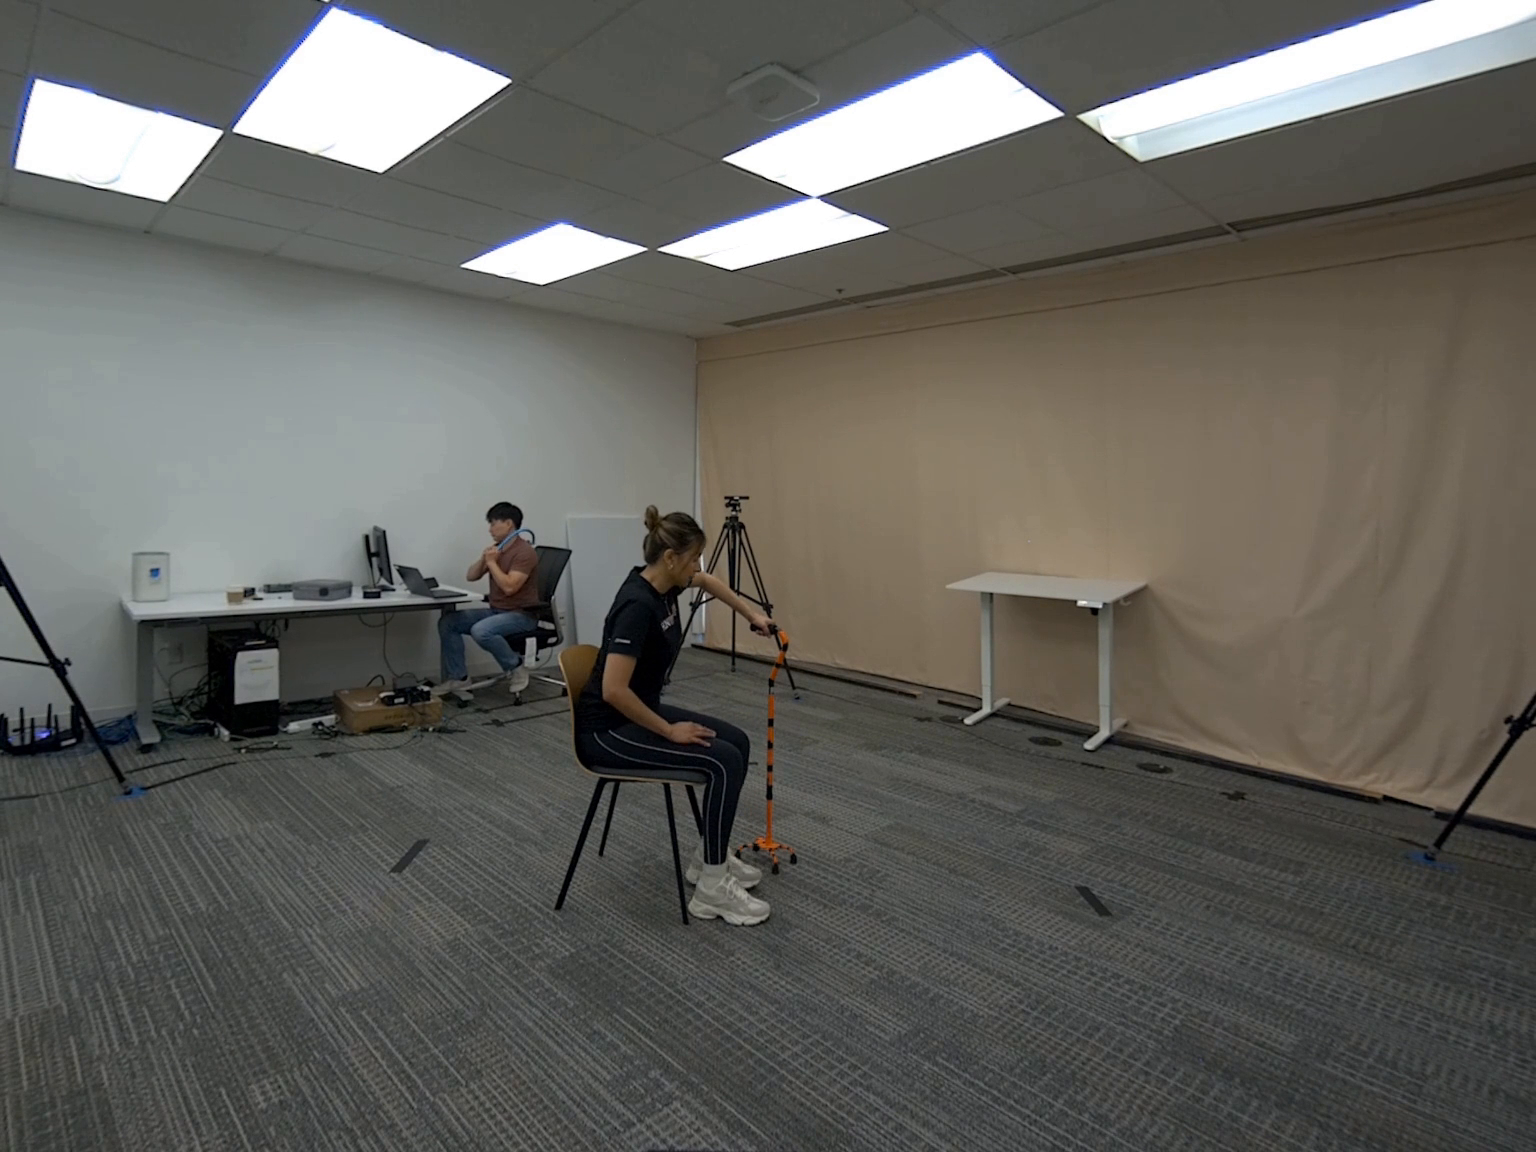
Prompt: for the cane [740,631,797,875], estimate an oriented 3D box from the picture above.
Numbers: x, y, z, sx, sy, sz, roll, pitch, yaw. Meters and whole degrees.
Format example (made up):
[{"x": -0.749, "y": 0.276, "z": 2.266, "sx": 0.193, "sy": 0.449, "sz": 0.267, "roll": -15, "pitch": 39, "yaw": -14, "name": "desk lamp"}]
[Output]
[{"x": -0.007, "y": 0.648, "z": 3.212, "sx": 0.211, "sy": 0.906, "sz": 0.148, "roll": 2, "pitch": 4, "yaw": 37, "name": "cane"}]
